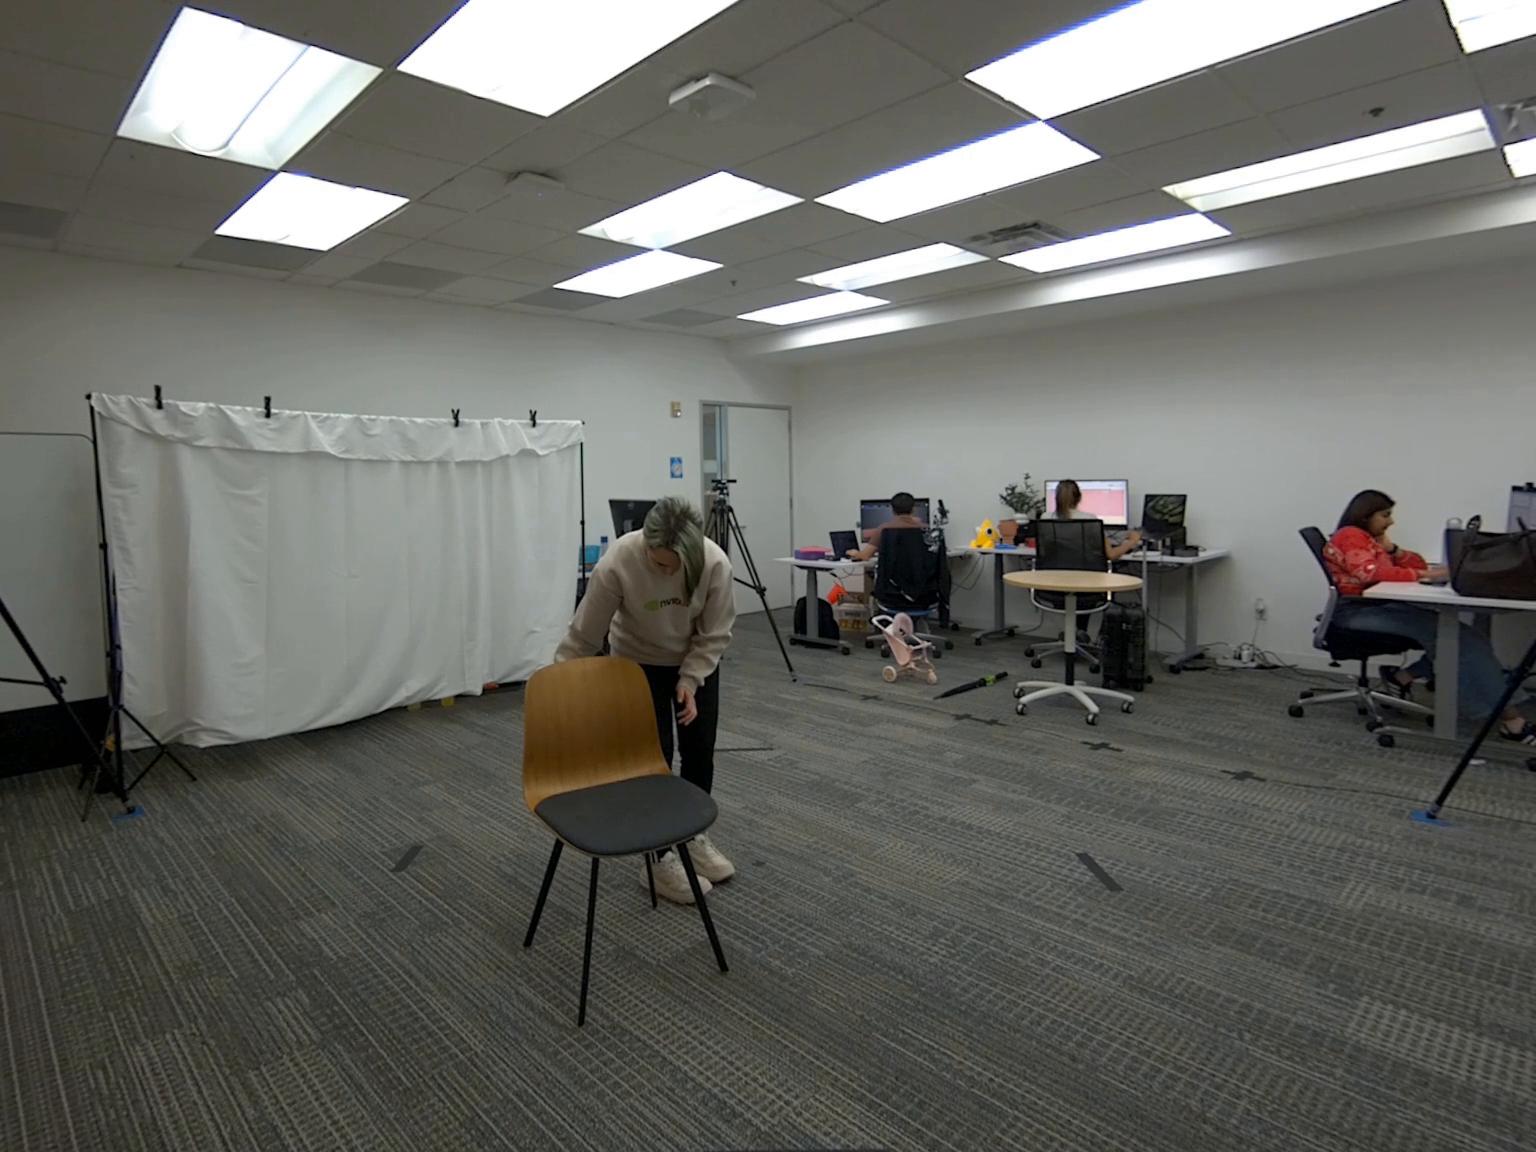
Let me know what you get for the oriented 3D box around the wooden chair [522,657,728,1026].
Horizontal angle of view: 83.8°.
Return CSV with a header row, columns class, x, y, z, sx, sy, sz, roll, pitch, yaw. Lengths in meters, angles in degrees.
class,x,y,z,sx,sy,sz,roll,pitch,yaw
wooden chair,-0.428,0.704,2.466,0.466,0.877,0.537,-4,2,-34
